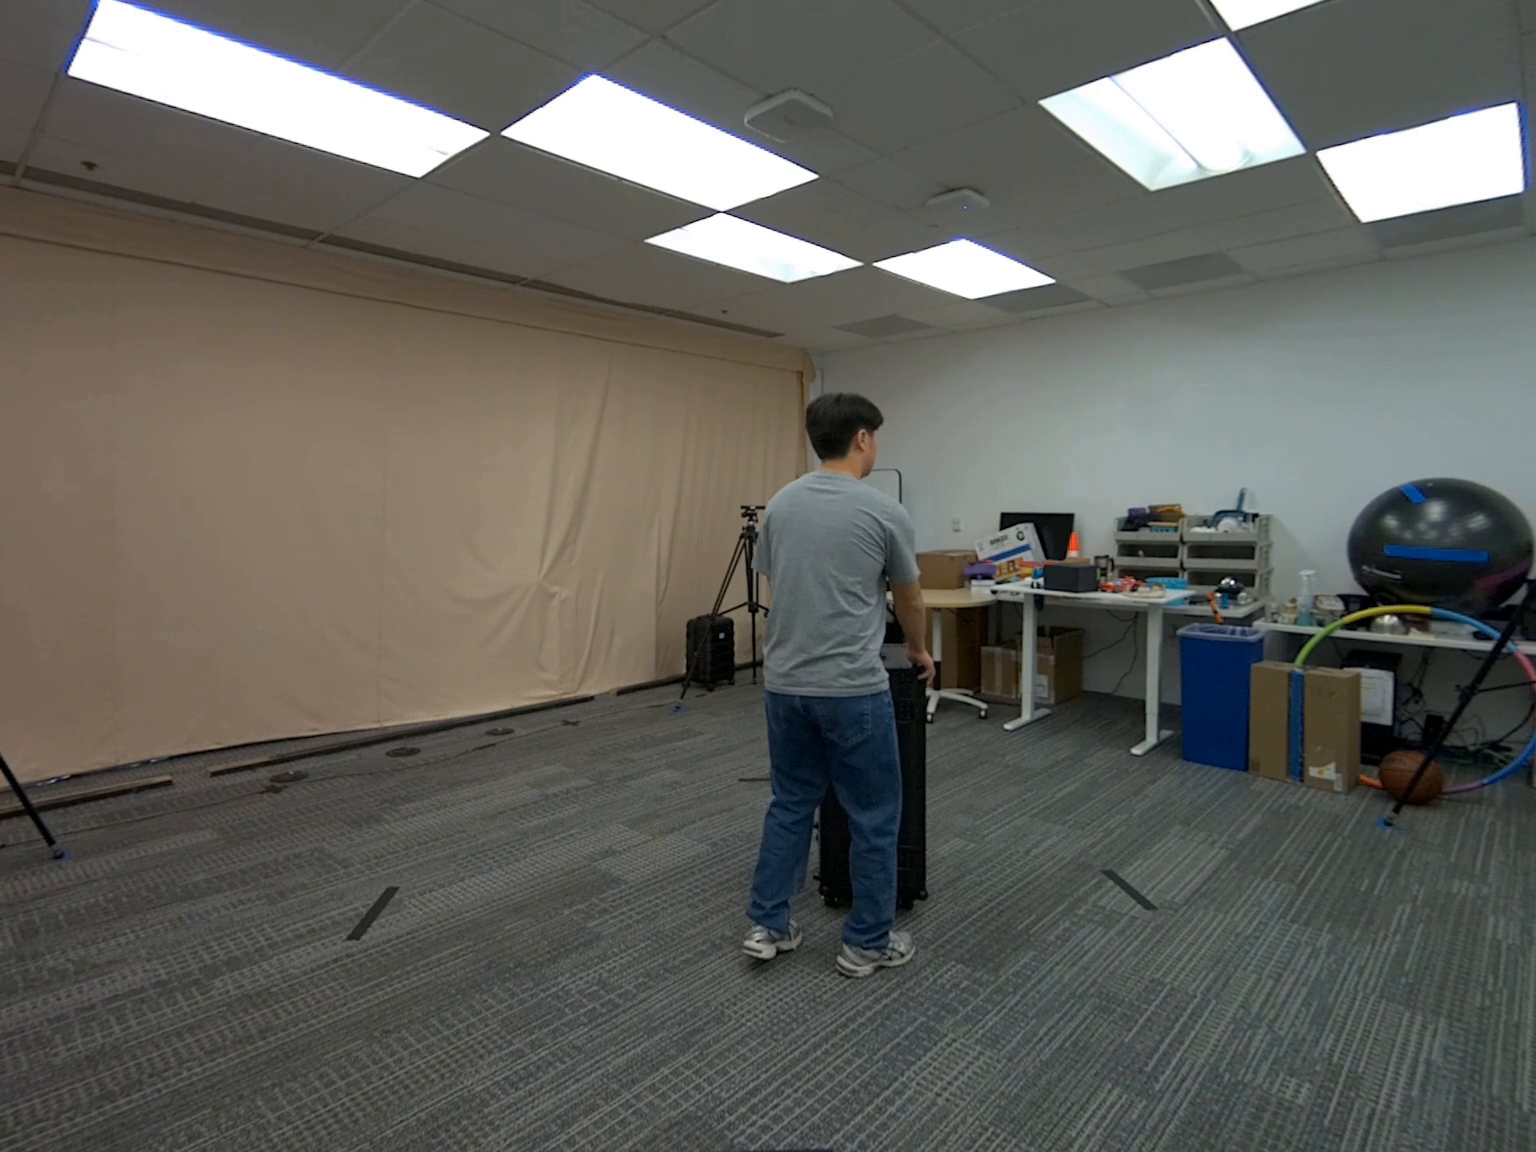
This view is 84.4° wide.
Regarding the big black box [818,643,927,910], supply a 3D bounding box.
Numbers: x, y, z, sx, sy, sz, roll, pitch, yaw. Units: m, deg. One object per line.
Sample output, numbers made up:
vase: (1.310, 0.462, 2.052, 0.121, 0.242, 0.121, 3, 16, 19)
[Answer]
big black box: (0.361, 0.717, 3.046, 0.399, 0.859, 0.519, -1, 4, 5)
